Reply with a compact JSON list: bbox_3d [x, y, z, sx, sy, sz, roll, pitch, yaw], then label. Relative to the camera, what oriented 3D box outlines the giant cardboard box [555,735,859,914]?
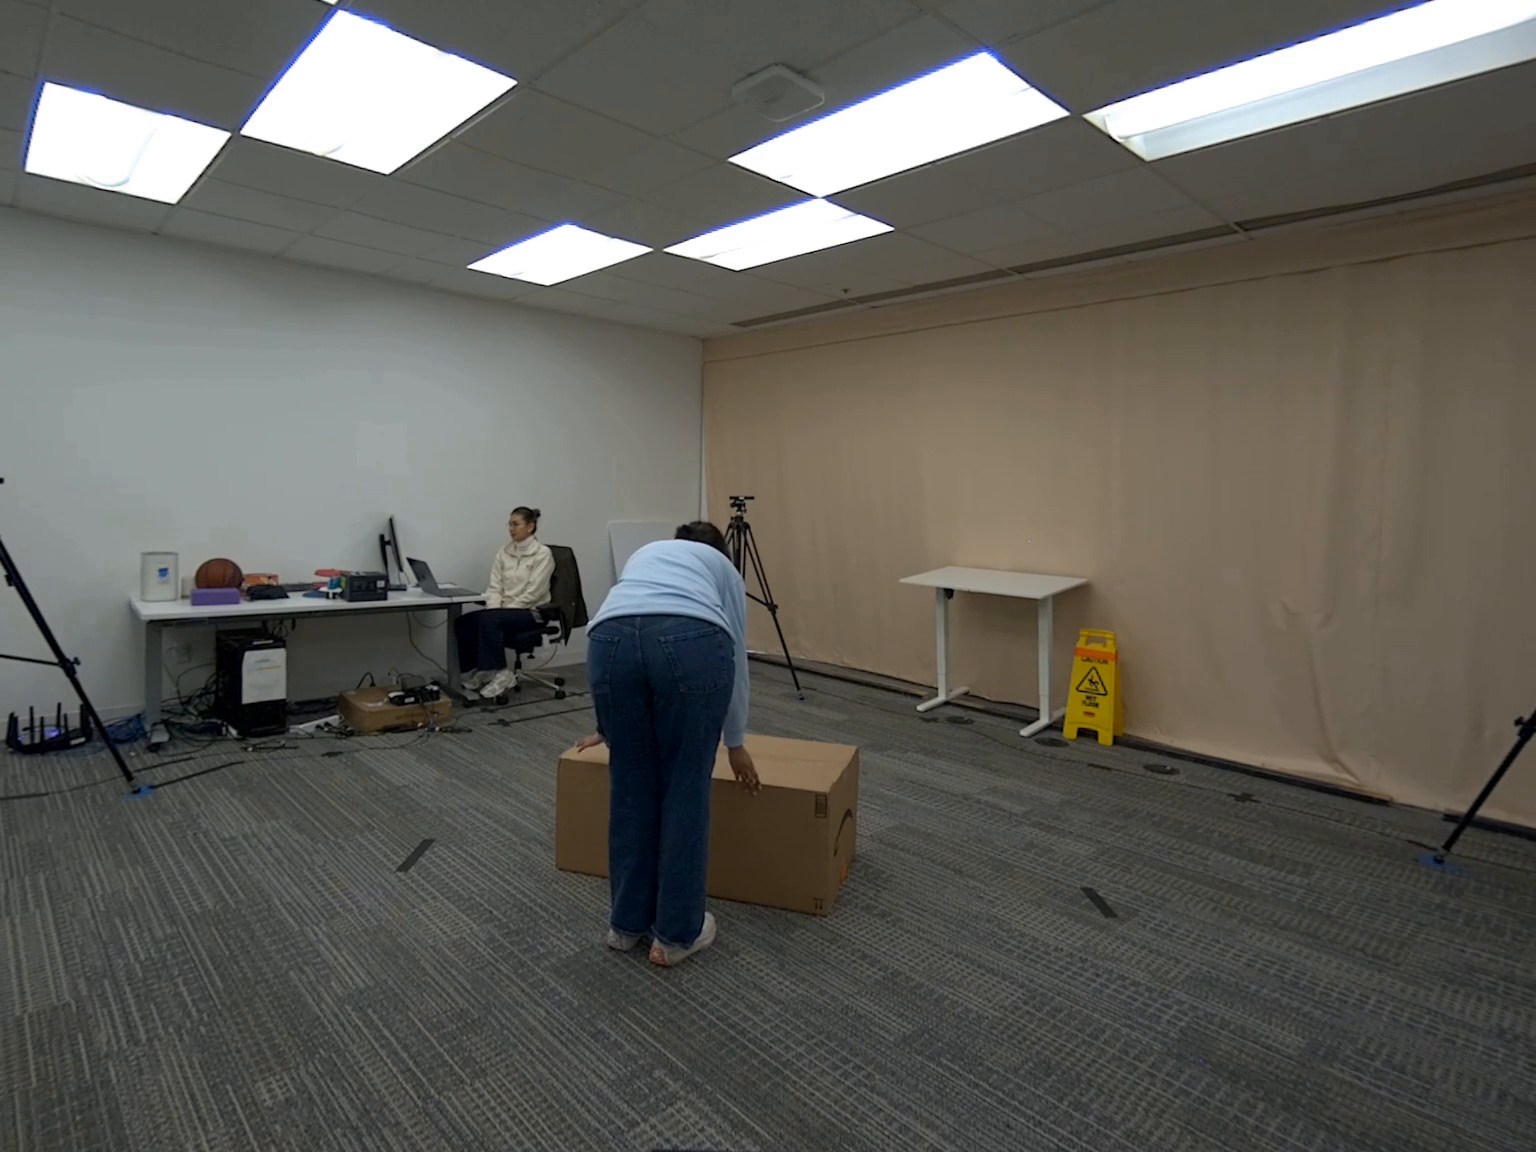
[{"bbox_3d":[-0.216,0.874,3.215,1.040,0.425,0.571,3,5,17],"label":"giant cardboard box"}]
